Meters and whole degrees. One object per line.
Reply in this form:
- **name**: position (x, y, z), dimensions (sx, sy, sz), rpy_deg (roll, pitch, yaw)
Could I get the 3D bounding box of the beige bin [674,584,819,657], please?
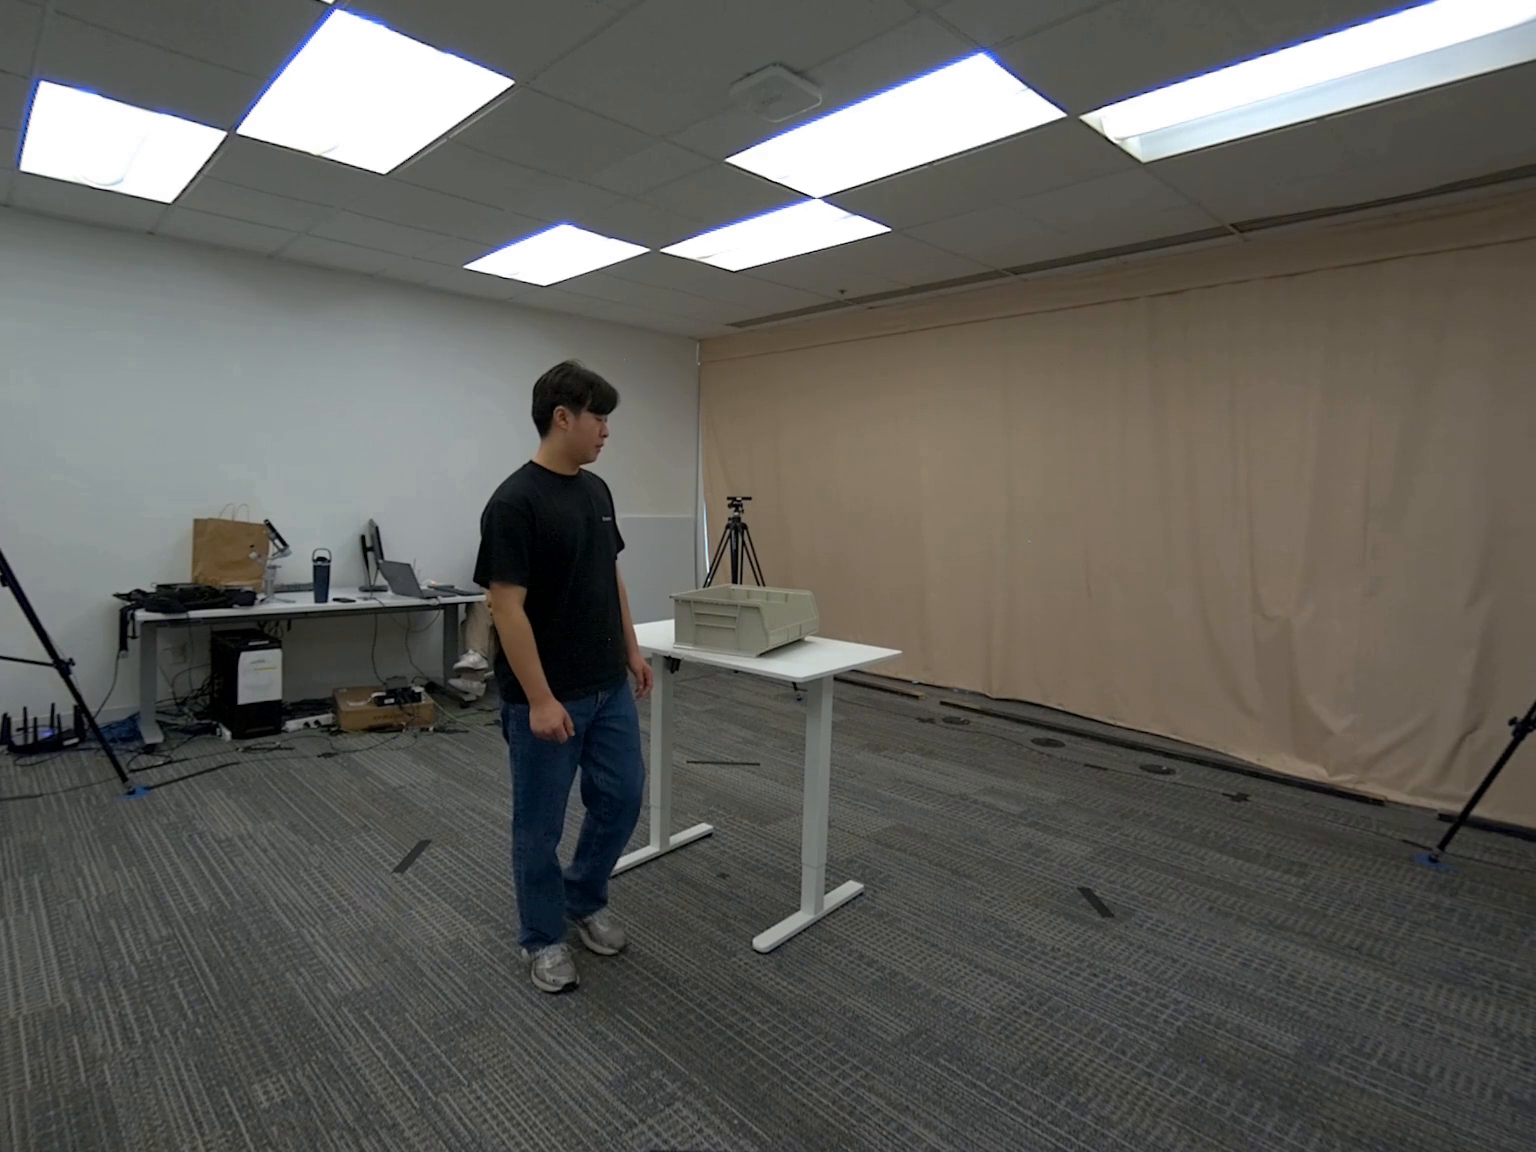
- **beige bin**: position (-0.077, 0.154, 2.931), dimensions (0.385, 0.188, 0.415), rpy_deg (3, 6, 27)
